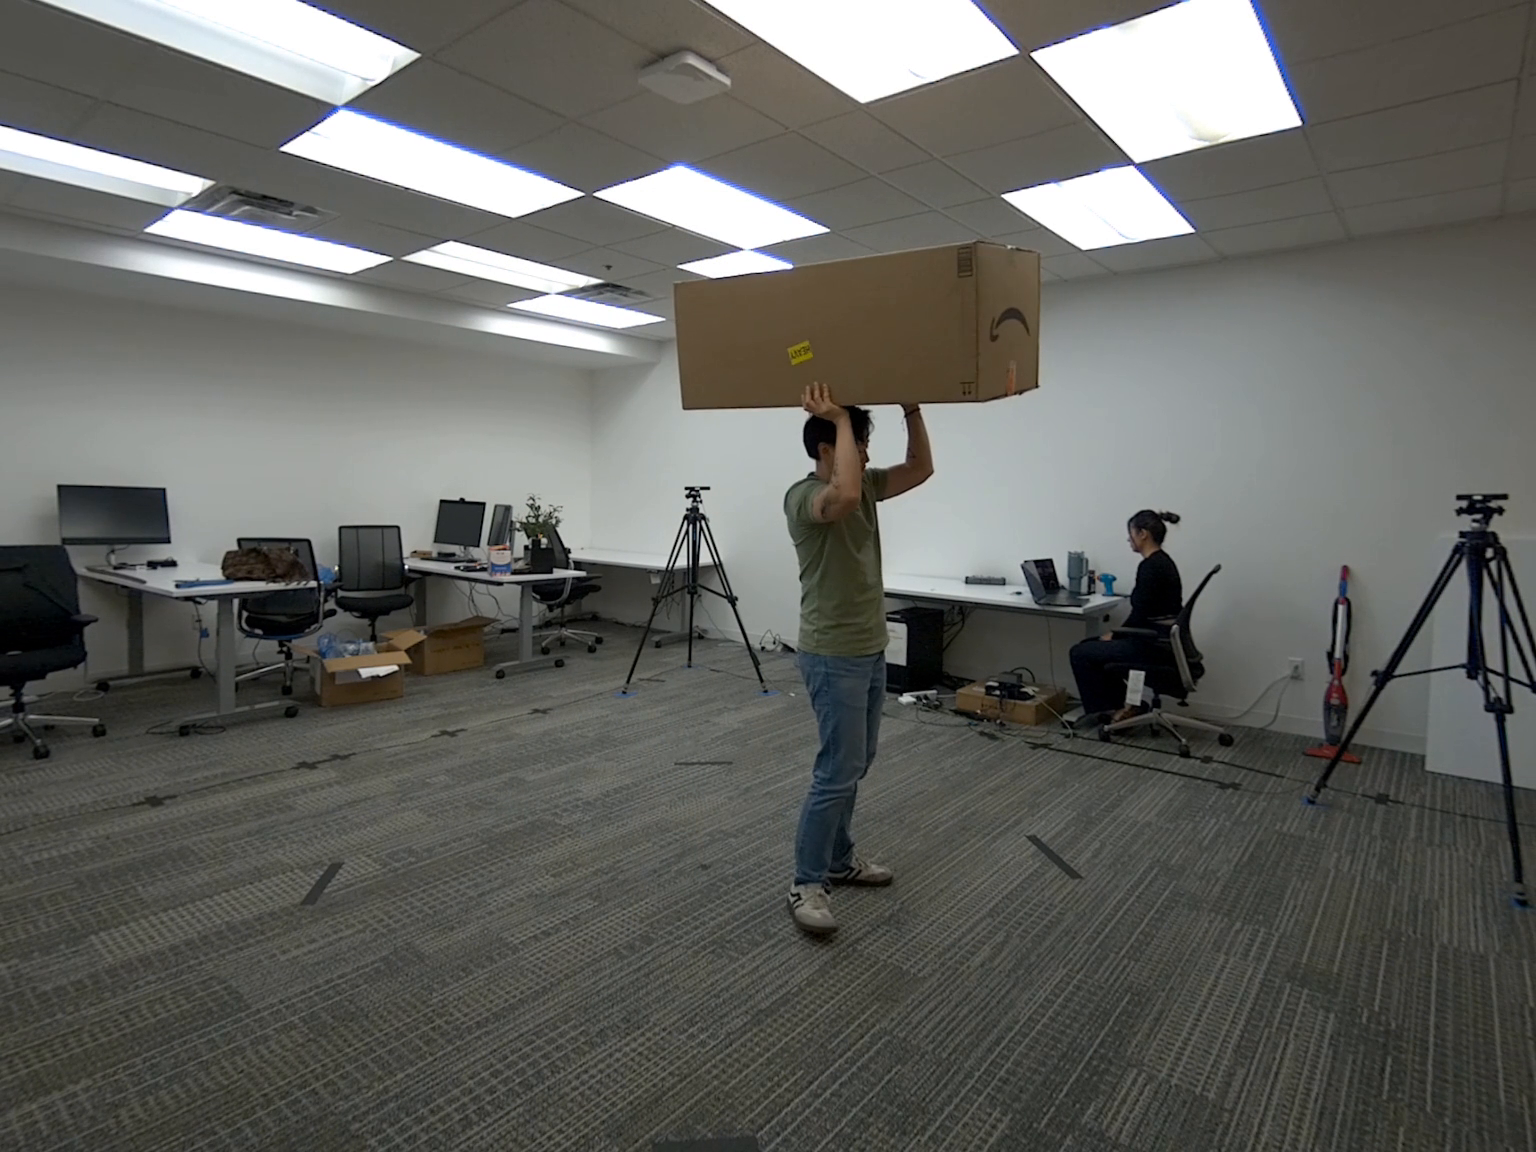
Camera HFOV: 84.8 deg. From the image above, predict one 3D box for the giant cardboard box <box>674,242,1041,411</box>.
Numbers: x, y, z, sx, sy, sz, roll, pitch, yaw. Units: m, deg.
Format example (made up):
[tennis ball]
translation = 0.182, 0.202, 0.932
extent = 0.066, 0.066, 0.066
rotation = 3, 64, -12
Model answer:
[giant cardboard box]
translation = 0.271, -0.787, 2.773
extent = 1.060, 0.421, 0.566
rotation = 7, 17, 34
